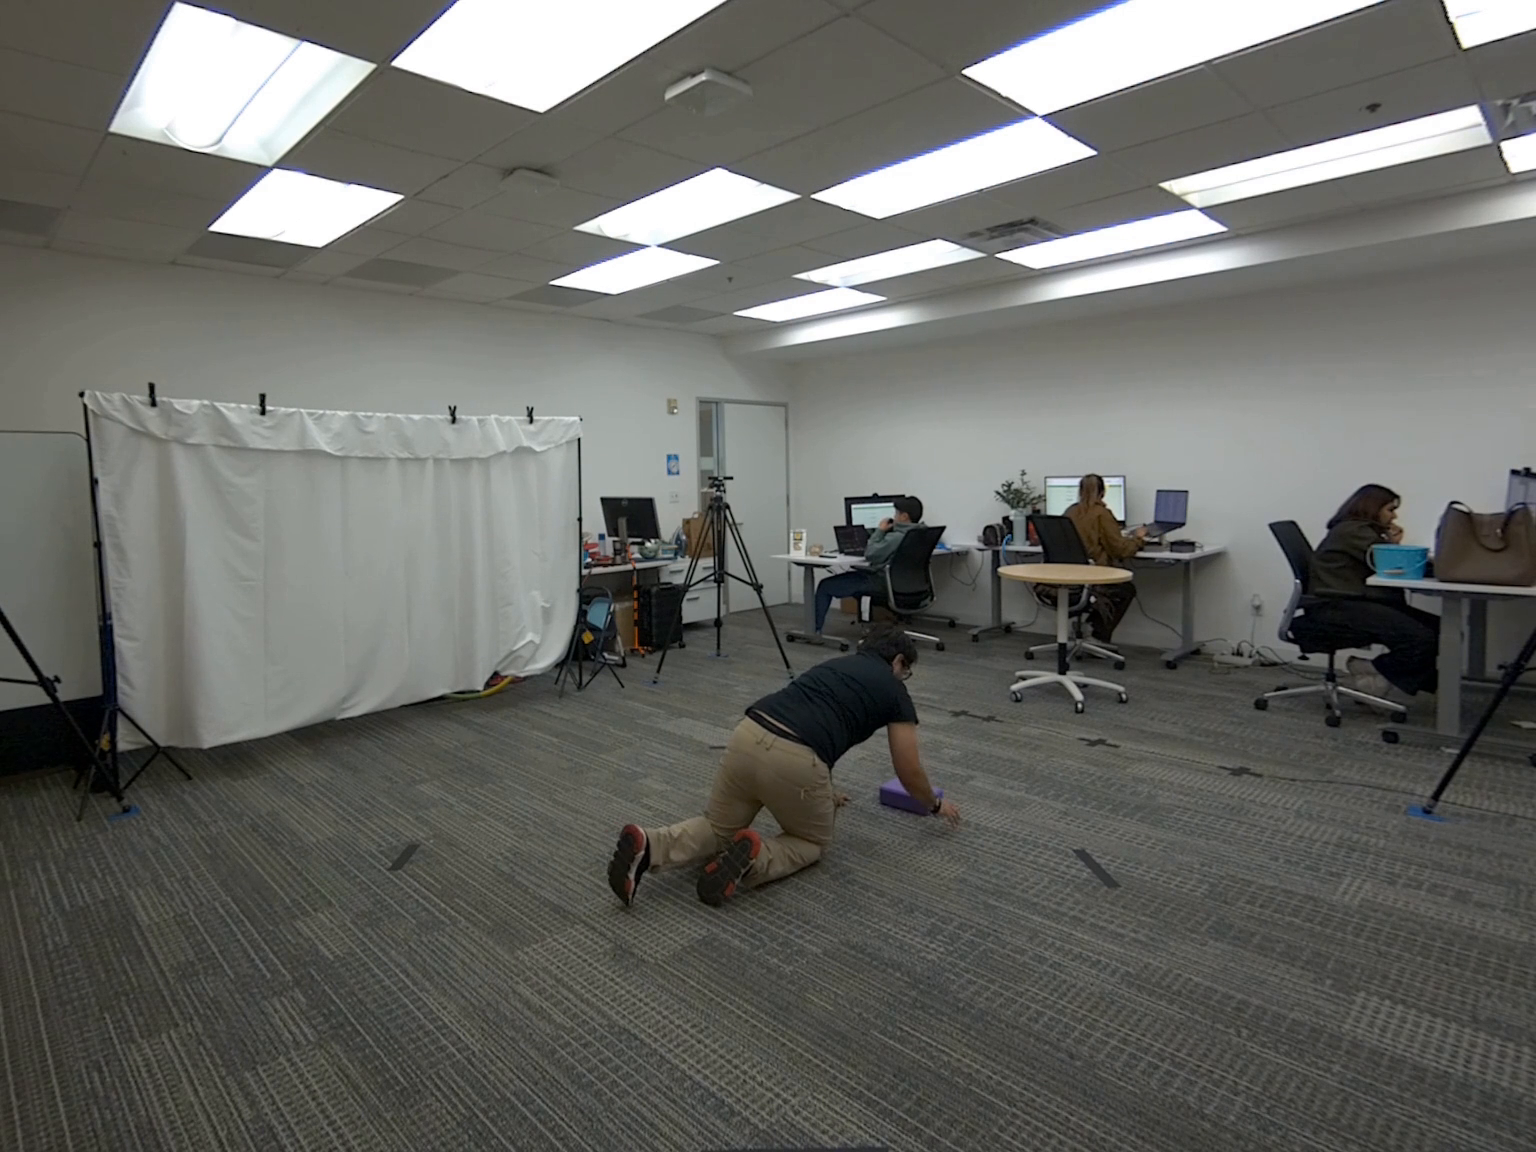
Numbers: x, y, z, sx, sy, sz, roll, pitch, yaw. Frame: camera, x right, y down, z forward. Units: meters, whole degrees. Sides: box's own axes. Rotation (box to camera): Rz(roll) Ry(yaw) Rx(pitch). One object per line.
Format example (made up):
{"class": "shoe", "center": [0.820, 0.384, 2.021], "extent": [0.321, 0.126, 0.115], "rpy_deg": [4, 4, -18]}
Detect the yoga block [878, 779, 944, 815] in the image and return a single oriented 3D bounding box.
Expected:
{"class": "yoga block", "center": [0.602, 0.926, 3.603], "extent": [0.236, 0.076, 0.145], "rpy_deg": [5, 7, 38]}
